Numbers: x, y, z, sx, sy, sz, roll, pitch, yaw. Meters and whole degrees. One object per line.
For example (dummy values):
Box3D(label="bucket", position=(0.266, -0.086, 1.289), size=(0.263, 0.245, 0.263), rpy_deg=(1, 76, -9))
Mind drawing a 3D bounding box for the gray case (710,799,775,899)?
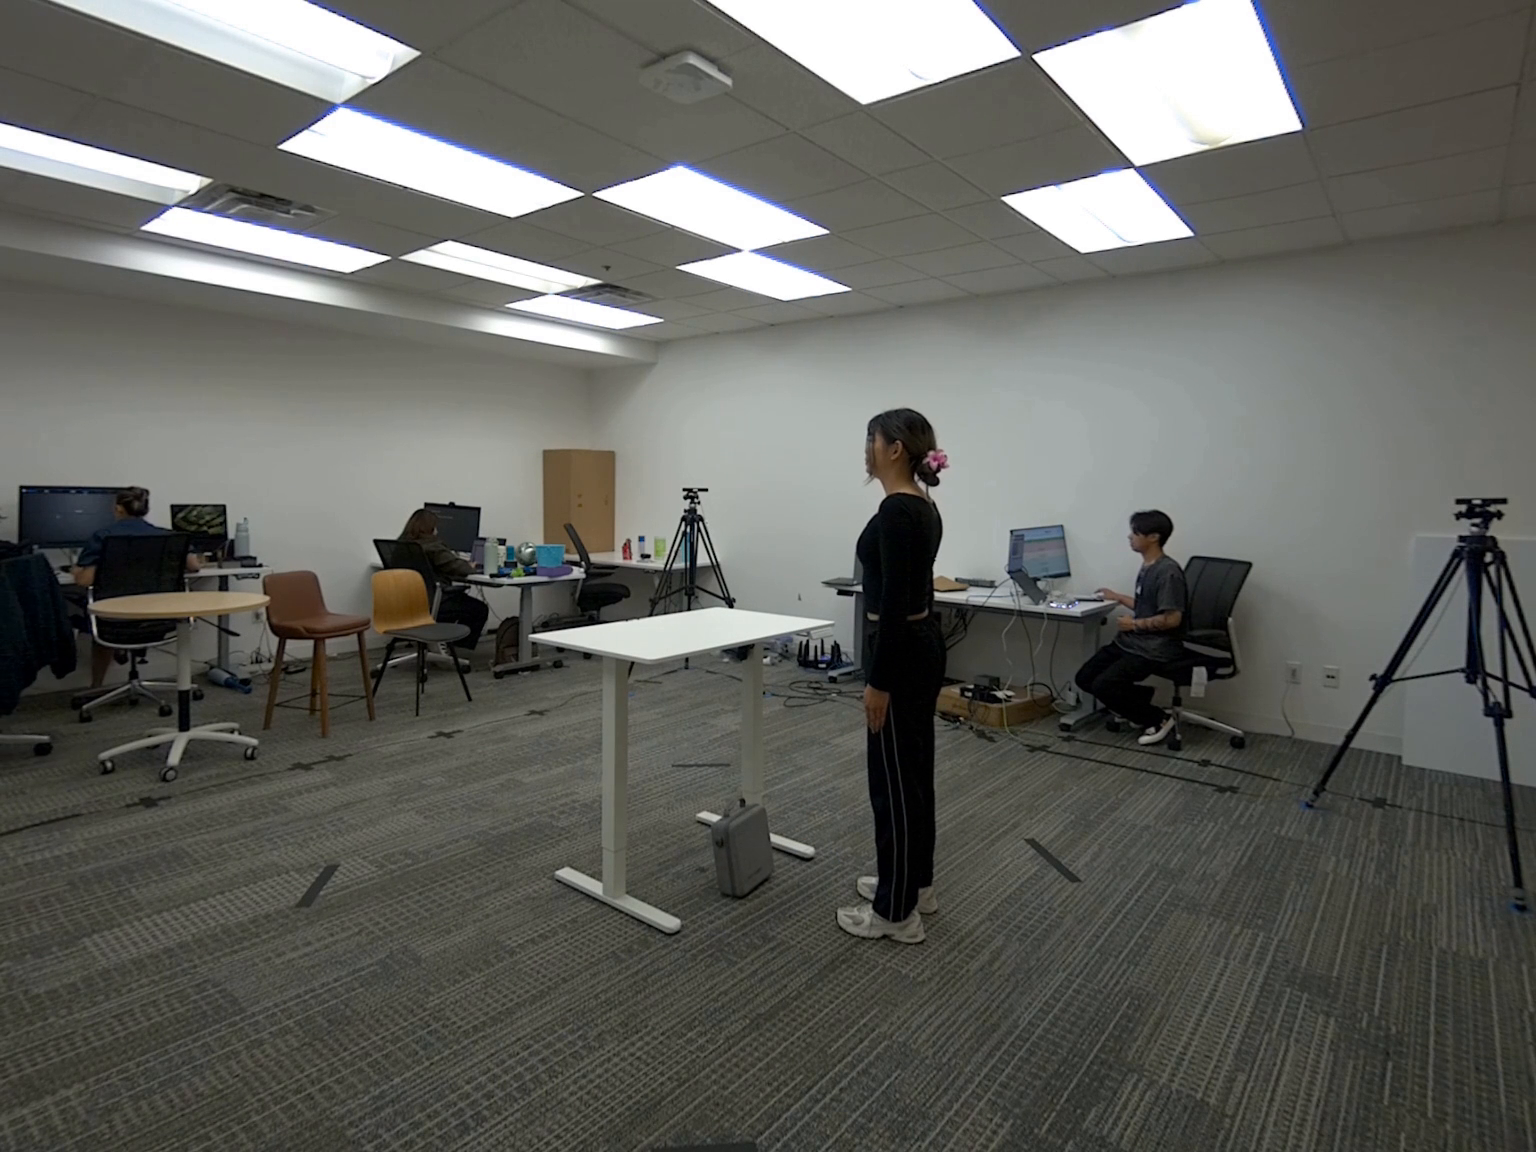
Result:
Box3D(label="gray case", position=(-0.099, 0.948, 2.997), size=(0.107, 0.261, 0.250), rpy_deg=(-10, -3, 29))
